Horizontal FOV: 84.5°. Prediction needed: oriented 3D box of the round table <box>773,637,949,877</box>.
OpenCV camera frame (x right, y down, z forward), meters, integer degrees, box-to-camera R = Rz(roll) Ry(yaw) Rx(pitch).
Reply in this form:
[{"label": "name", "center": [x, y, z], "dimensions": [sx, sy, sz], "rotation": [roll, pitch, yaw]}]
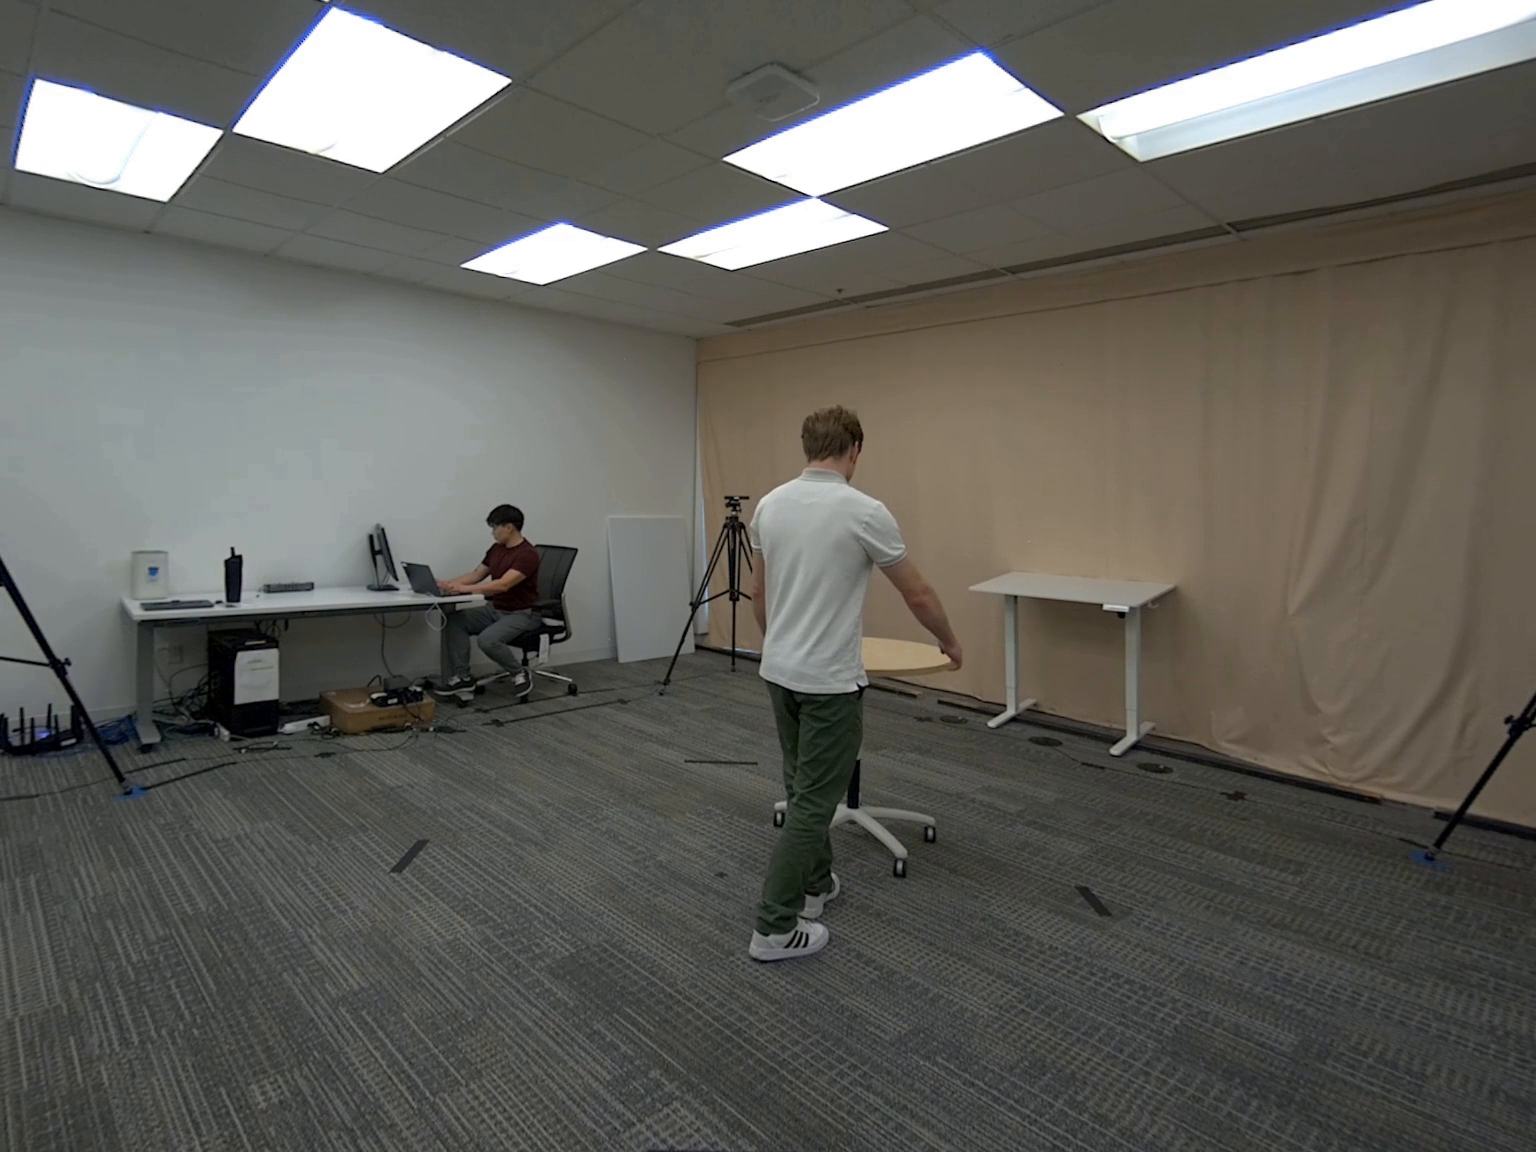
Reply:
[{"label": "round table", "center": [0.346, 0.694, 3.413], "dimensions": [0.784, 0.785, 0.787], "rotation": [1, 3, -1]}]
